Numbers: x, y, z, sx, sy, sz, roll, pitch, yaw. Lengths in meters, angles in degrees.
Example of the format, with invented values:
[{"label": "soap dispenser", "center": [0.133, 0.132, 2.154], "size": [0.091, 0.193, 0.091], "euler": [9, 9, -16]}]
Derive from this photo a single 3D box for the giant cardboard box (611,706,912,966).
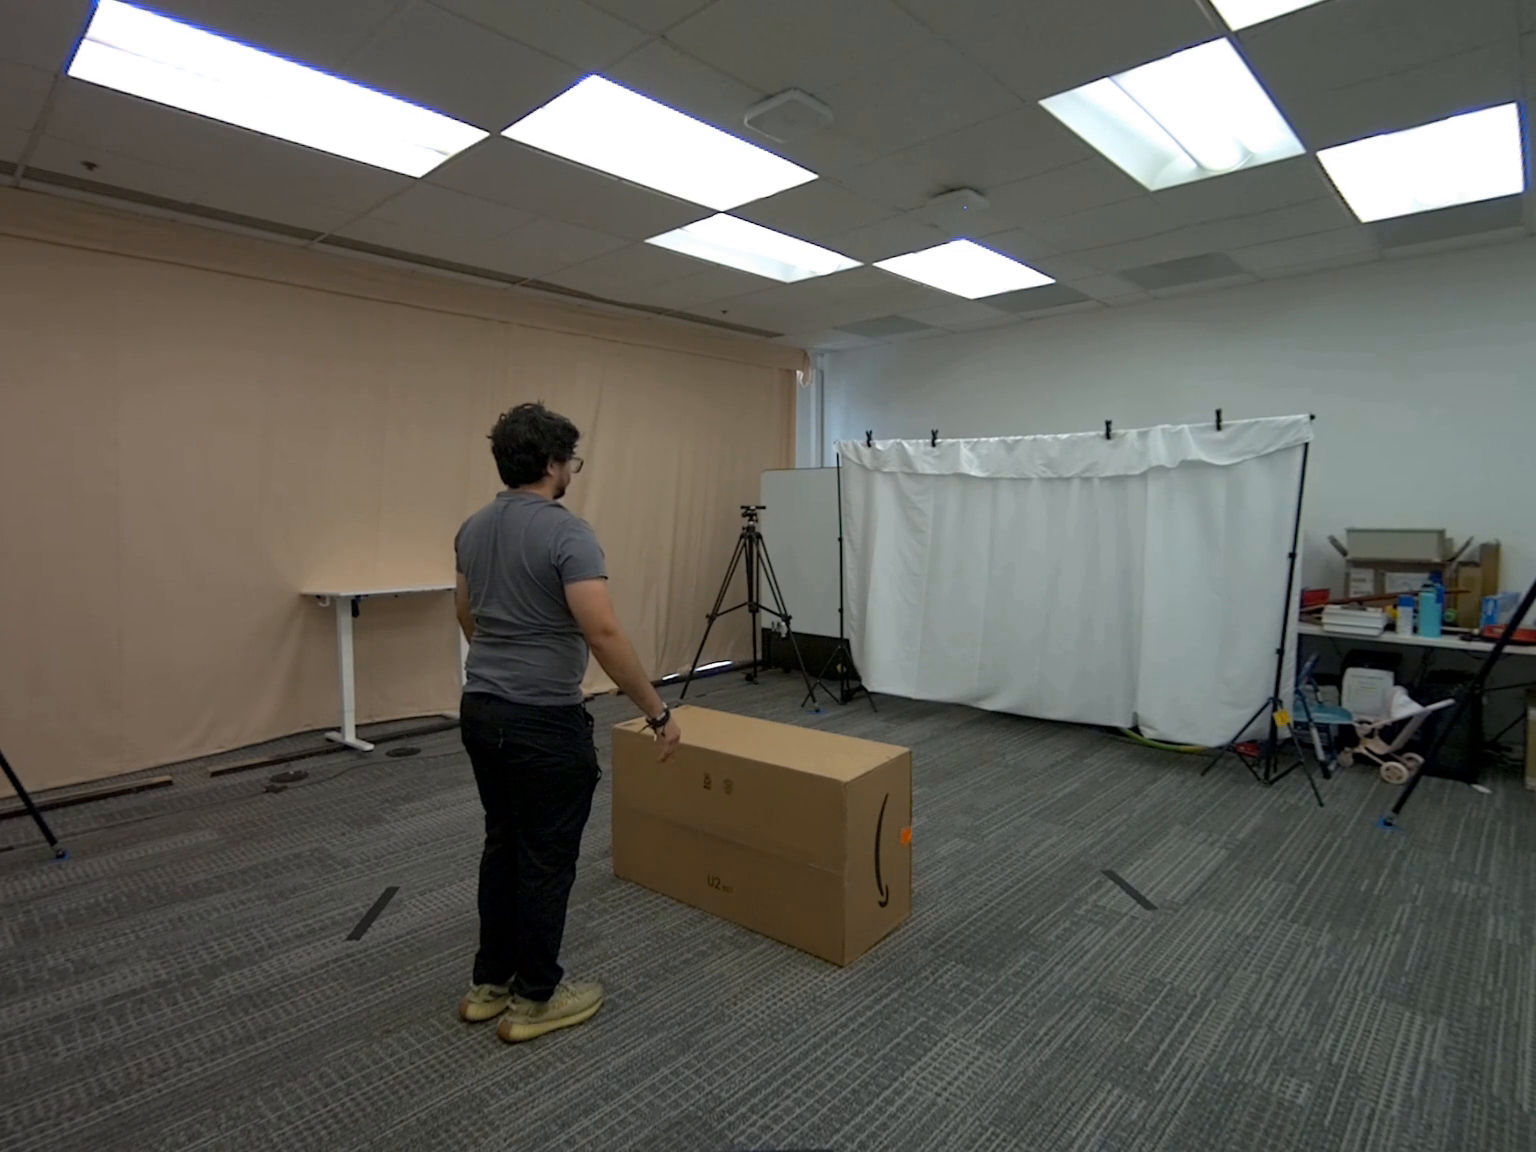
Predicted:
[{"label": "giant cardboard box", "center": [-0.046, 0.852, 3.003], "size": [1.059, 0.576, 0.413], "euler": [3, 4, 39]}]
